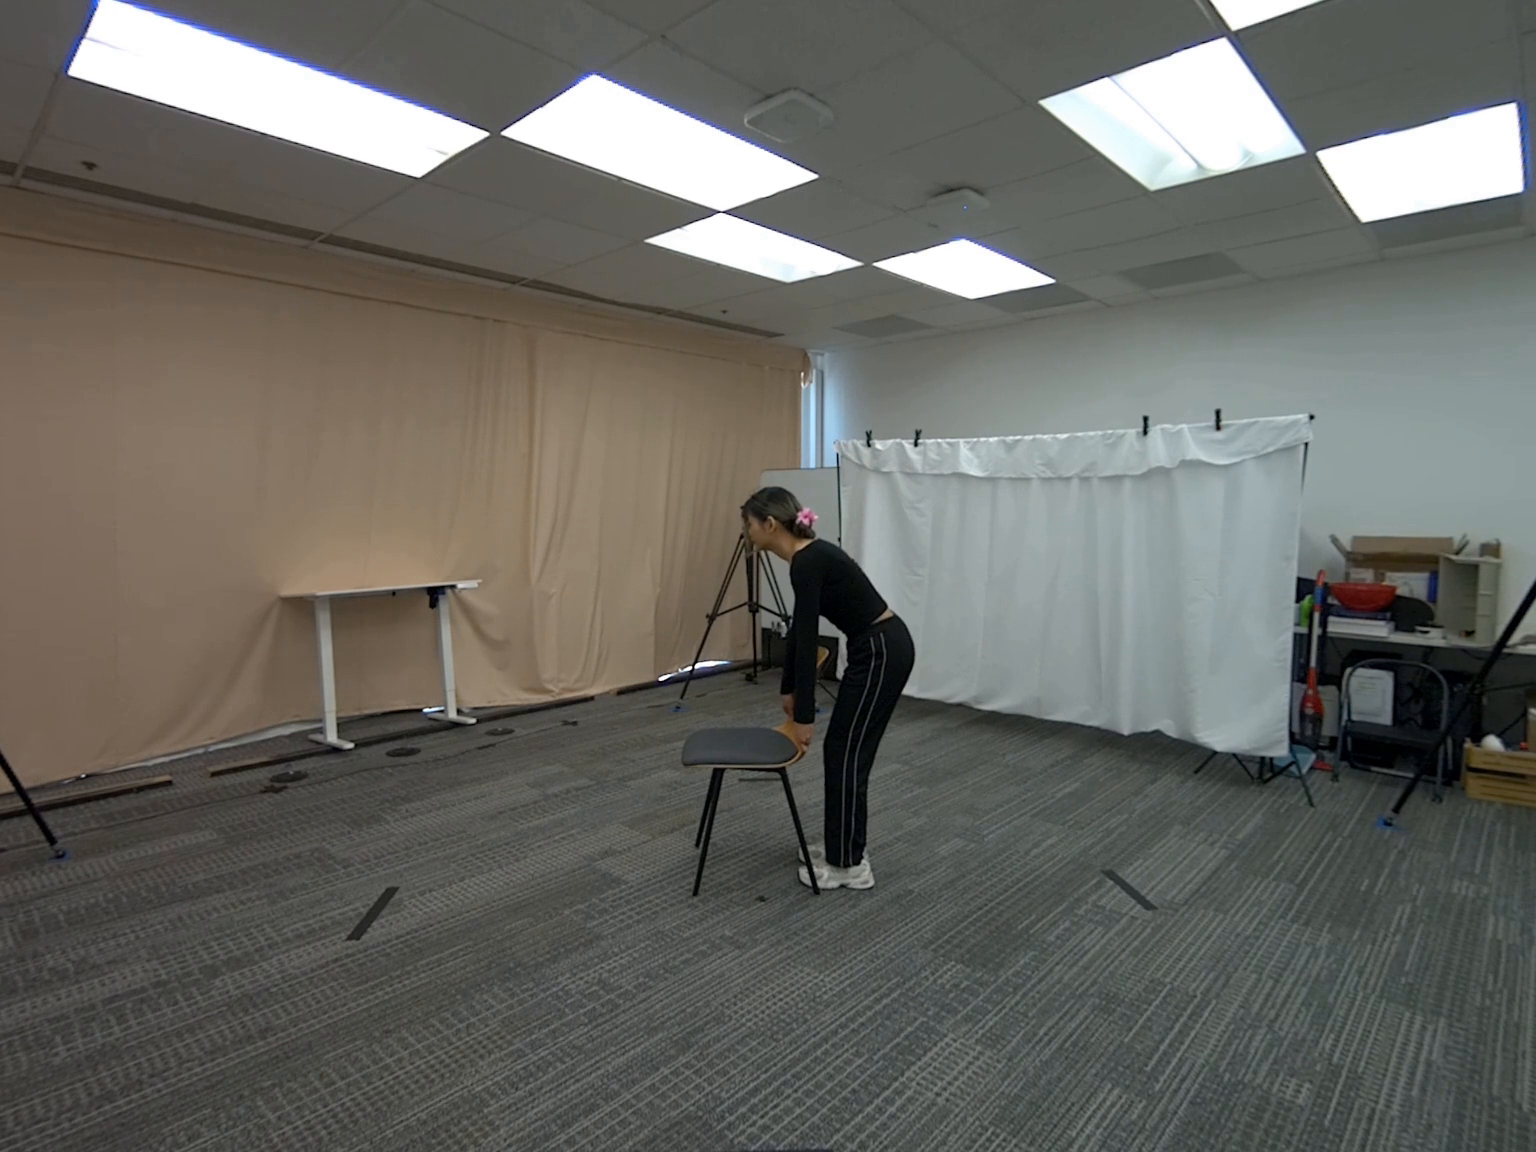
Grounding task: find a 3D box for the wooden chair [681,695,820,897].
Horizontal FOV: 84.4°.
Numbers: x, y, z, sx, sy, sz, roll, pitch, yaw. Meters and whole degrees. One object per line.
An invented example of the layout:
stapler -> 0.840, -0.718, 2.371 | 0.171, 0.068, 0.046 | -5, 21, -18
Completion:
wooden chair -> -0.067, 0.697, 3.197 | 0.522, 0.876, 0.480 | 4, 3, -3
